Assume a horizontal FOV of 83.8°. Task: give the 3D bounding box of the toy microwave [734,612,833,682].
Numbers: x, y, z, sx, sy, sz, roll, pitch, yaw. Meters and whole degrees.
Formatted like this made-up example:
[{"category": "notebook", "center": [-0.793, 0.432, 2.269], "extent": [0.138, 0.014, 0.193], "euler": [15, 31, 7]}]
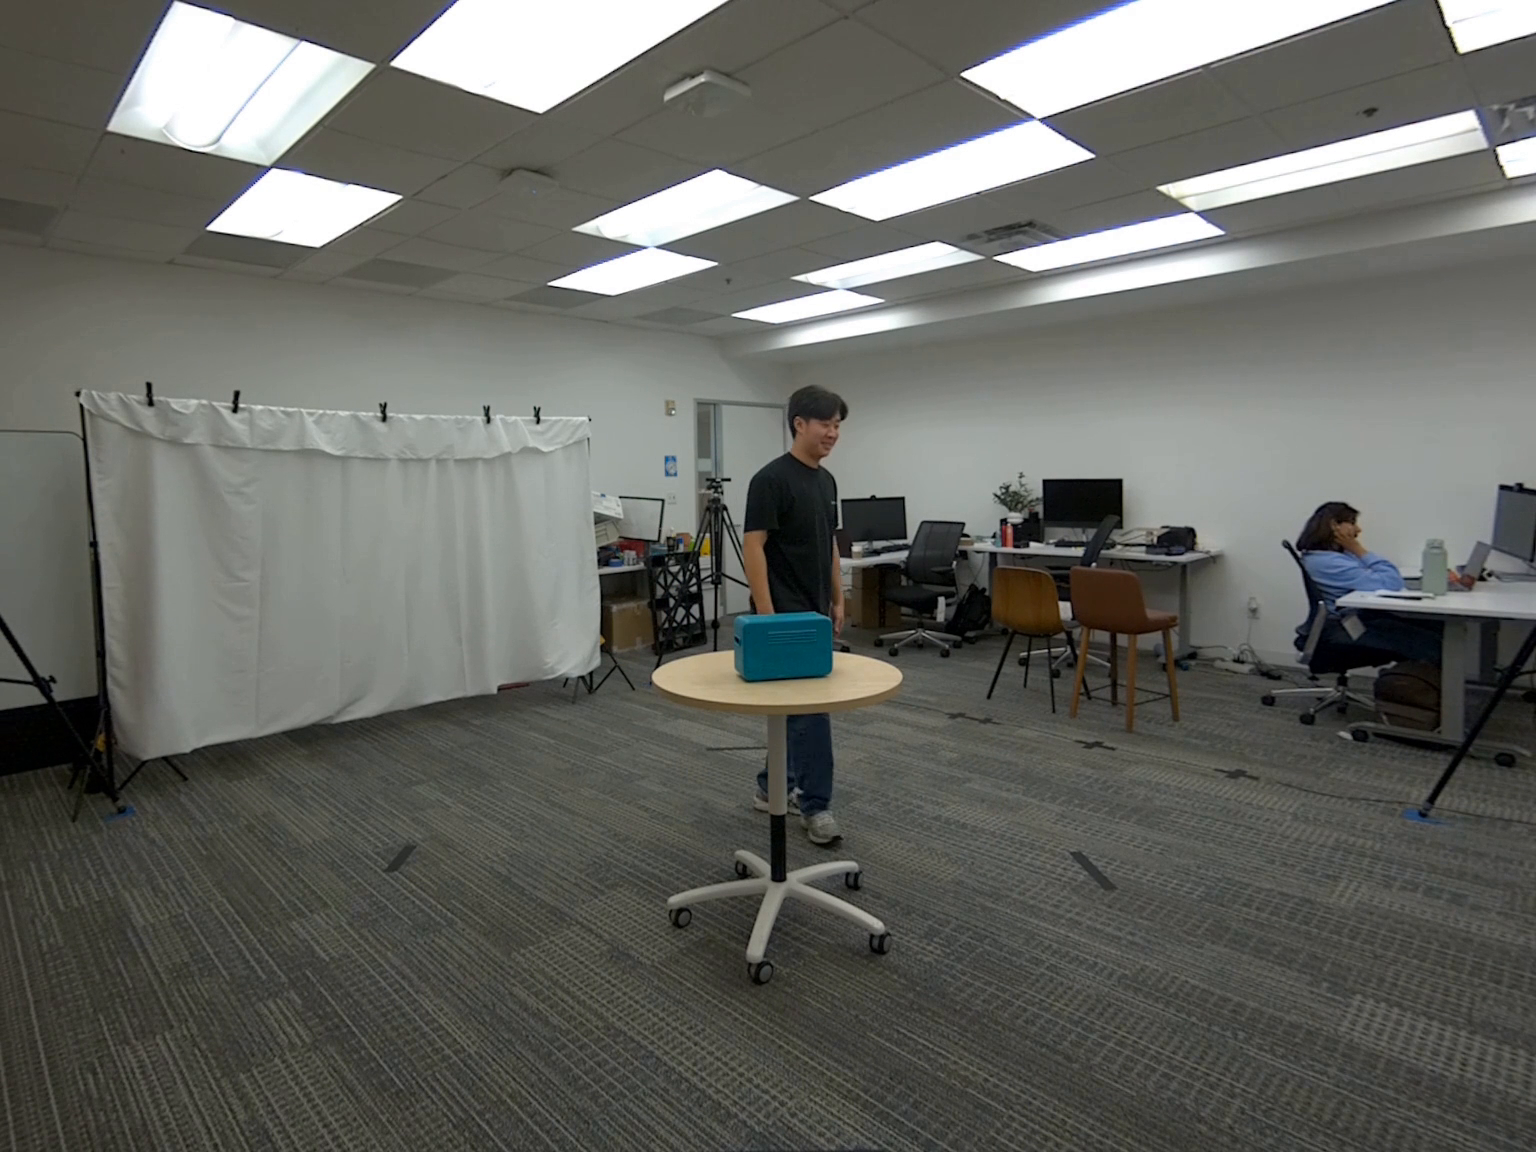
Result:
[{"category": "toy microwave", "center": [0.044, 0.212, 2.595], "extent": [0.283, 0.183, 0.154], "euler": [-2, 4, -12]}]
